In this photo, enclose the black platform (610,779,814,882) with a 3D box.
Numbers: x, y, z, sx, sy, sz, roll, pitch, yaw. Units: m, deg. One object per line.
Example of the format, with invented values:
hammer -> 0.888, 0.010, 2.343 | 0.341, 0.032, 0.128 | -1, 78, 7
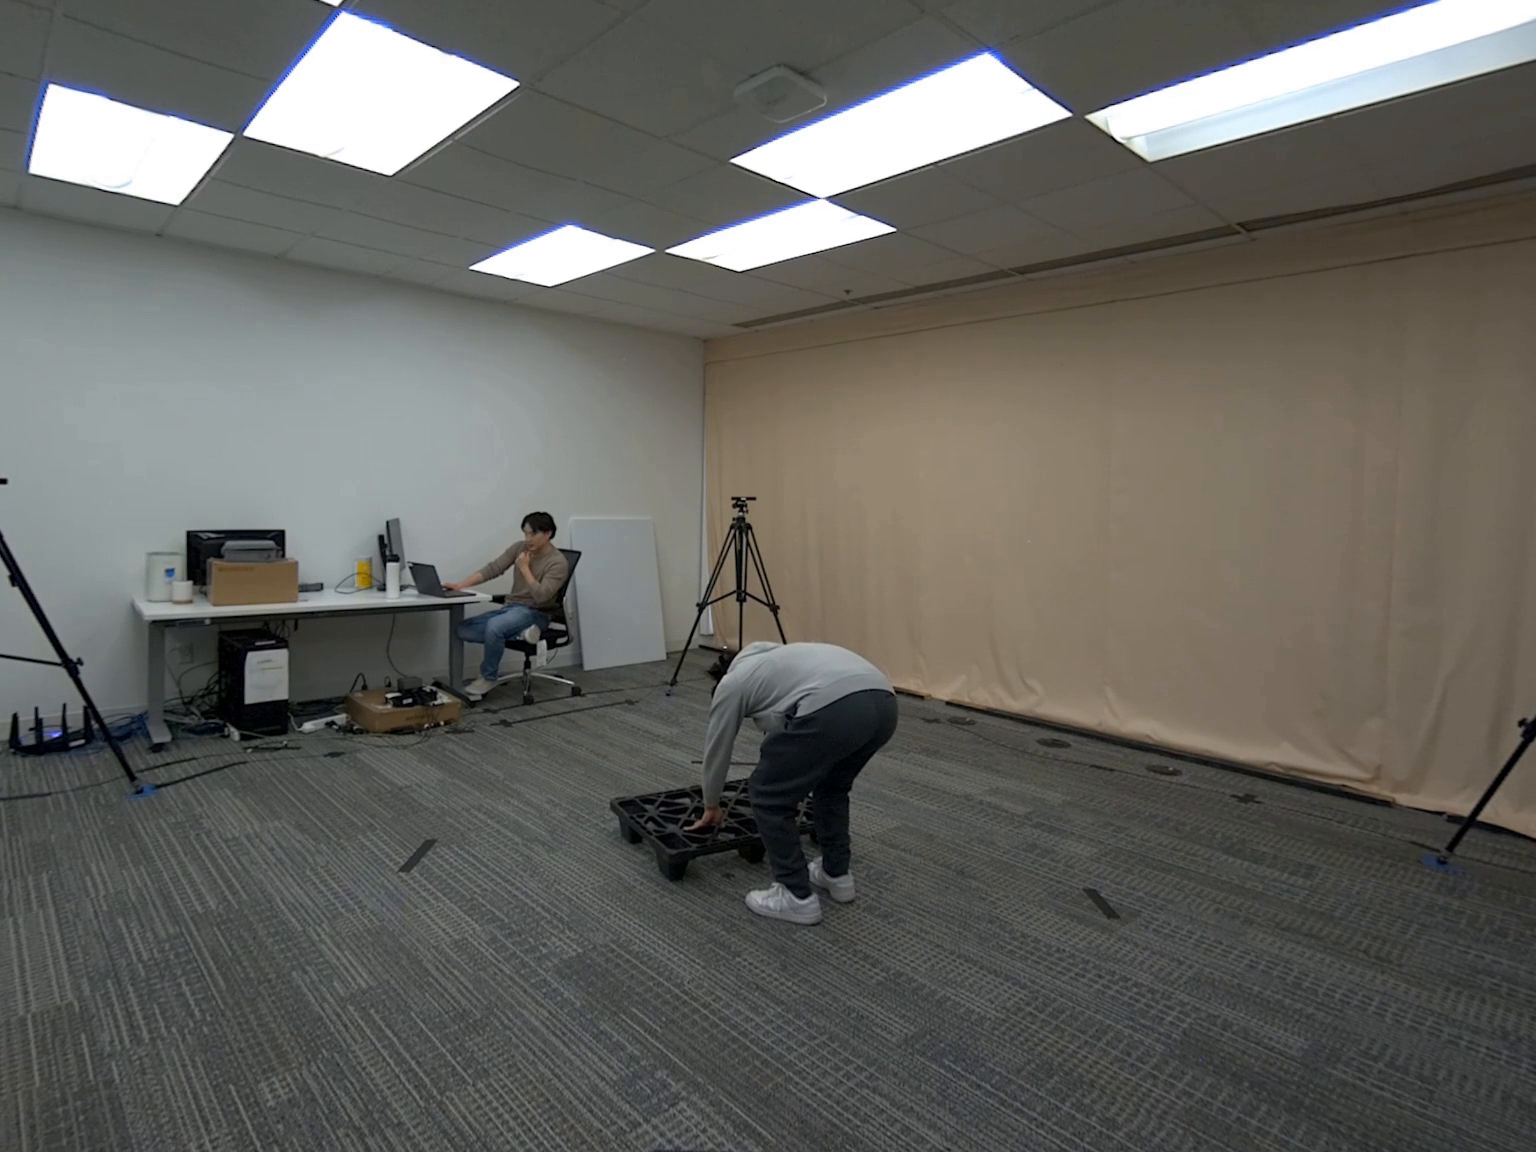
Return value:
black platform -> -0.167, 1.011, 3.424 | 0.789, 0.143, 0.619 | -2, 6, -30
